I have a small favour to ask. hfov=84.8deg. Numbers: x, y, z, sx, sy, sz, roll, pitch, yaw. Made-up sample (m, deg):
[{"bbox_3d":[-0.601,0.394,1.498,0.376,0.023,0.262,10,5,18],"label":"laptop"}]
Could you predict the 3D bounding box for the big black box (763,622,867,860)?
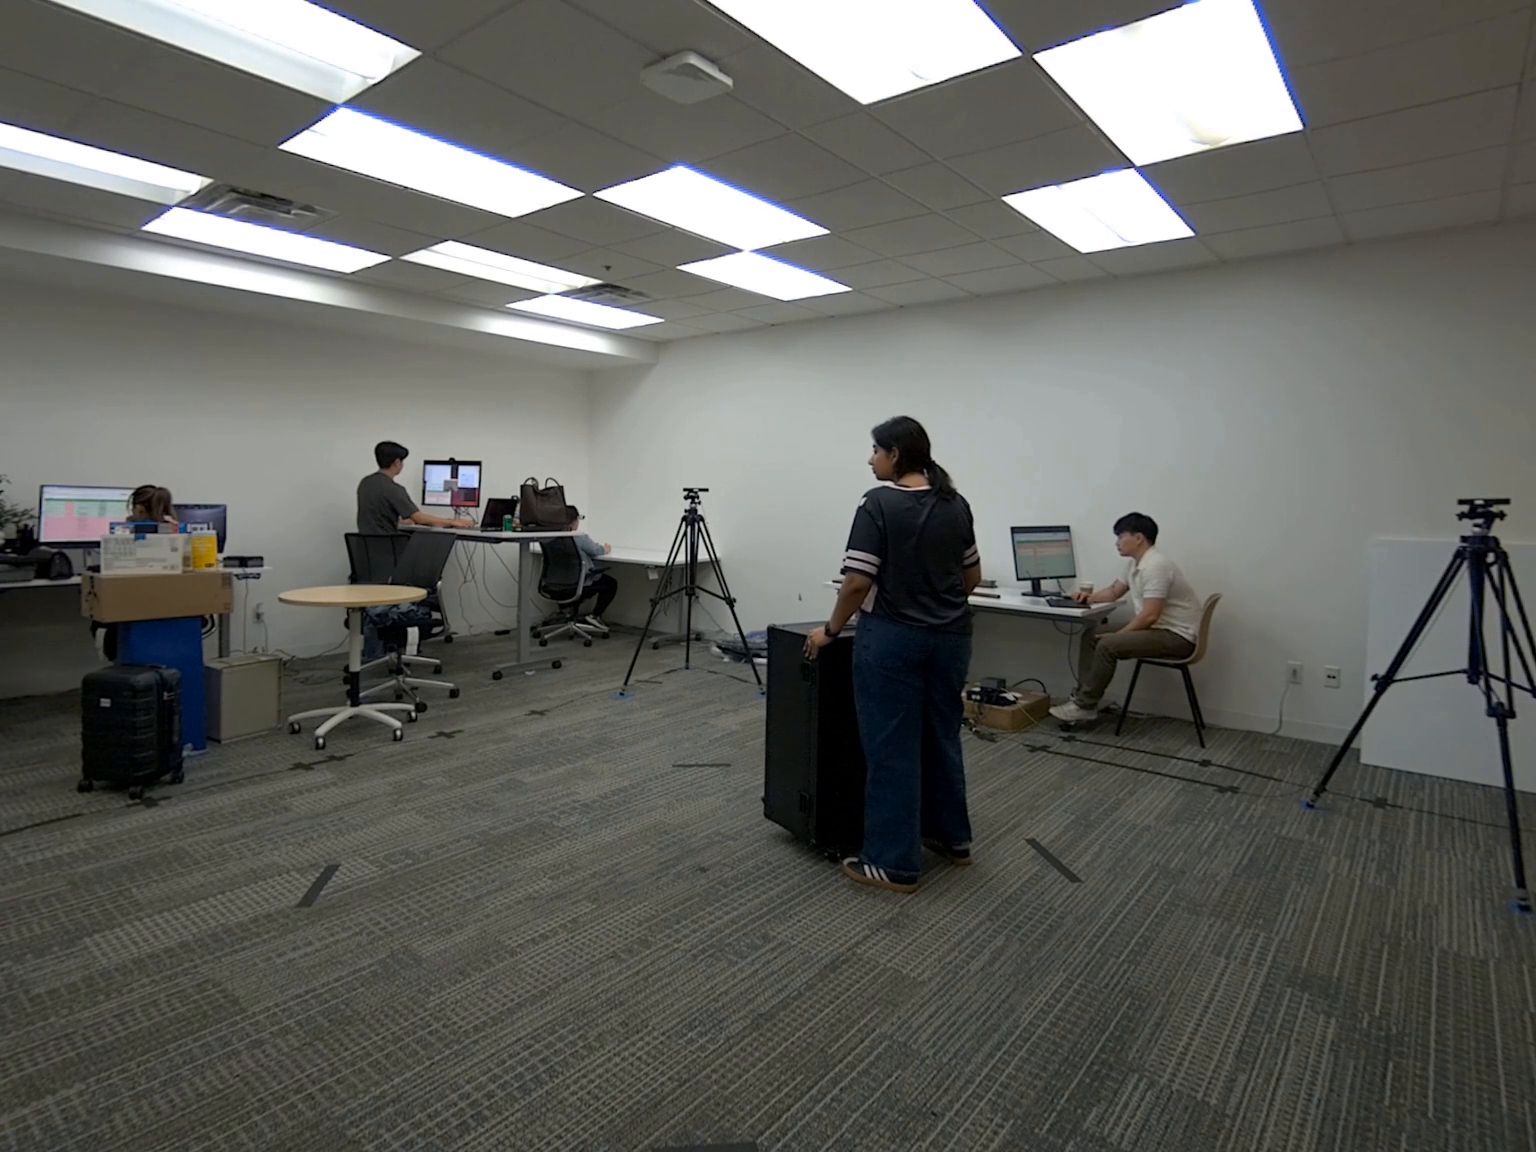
[{"bbox_3d":[0.268,0.628,3.398,0.509,0.866,0.397,-1,3,-32],"label":"big black box"}]
